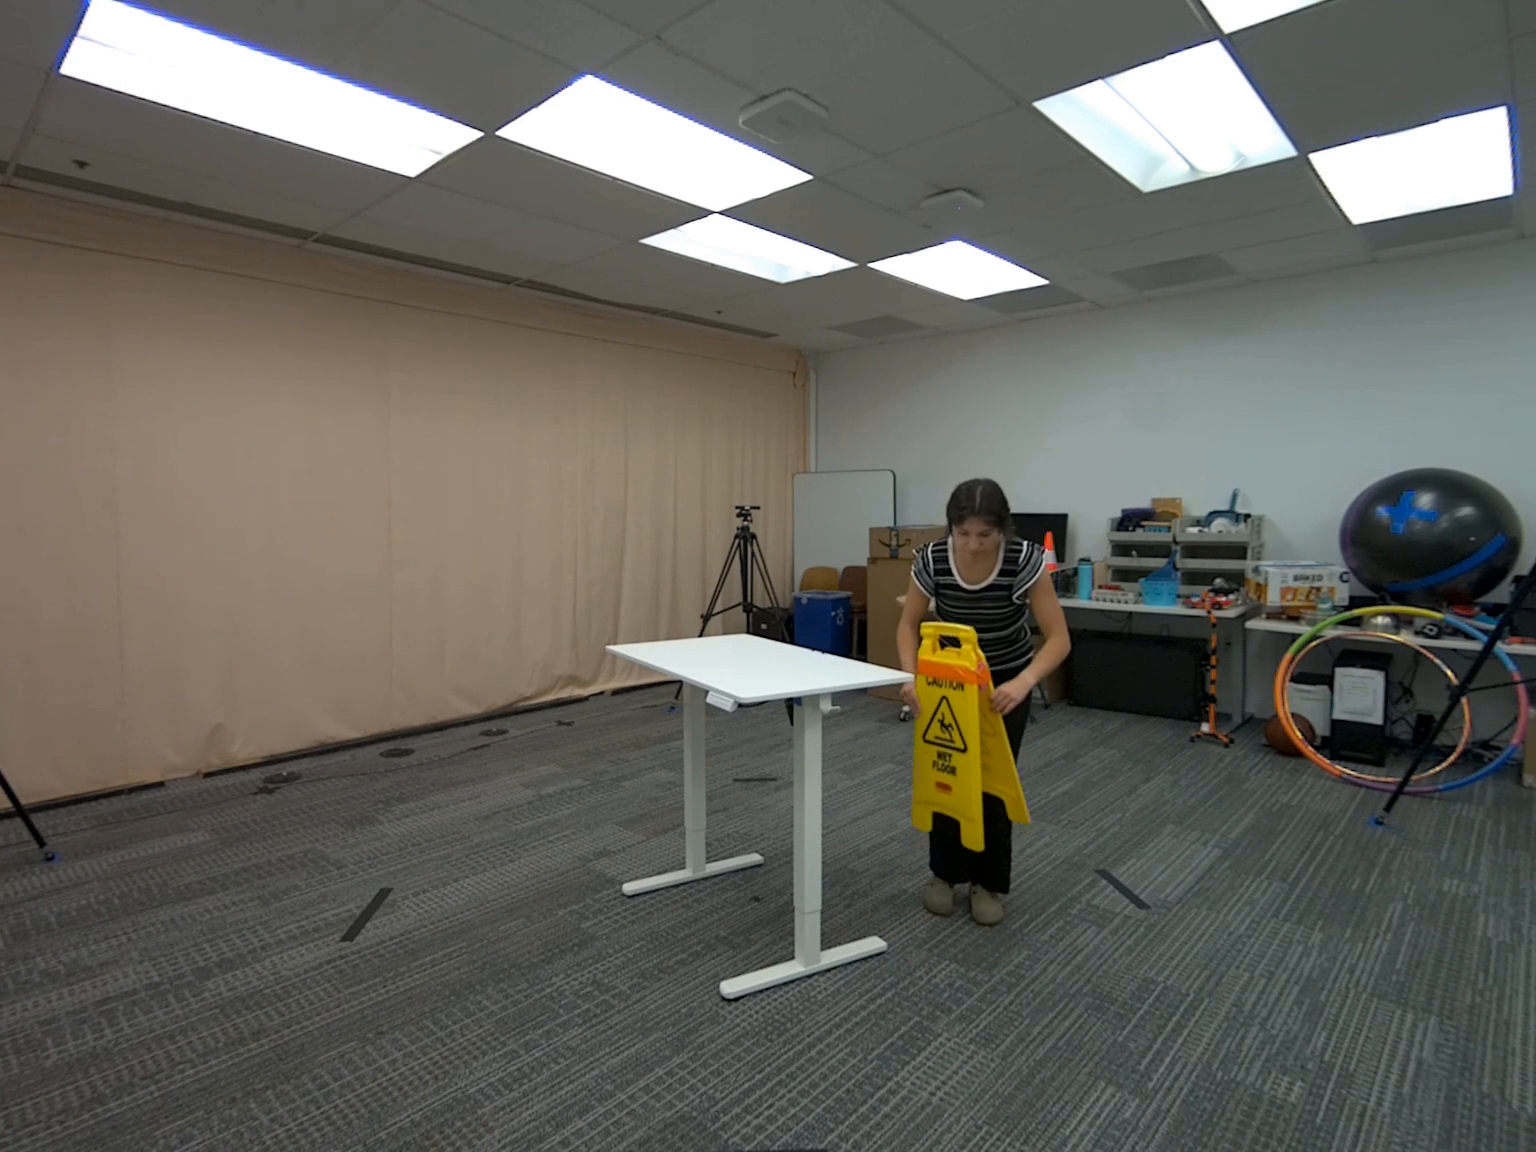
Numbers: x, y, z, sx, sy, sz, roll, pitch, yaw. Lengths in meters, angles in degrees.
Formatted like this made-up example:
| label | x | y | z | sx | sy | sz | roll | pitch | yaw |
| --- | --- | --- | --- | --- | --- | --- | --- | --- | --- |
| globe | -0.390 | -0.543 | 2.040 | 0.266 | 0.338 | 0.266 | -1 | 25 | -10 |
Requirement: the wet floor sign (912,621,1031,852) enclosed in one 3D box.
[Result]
| label | x | y | z | sx | sy | sz | roll | pitch | yaw |
| --- | --- | --- | --- | --- | --- | --- | --- | --- | --- |
| wet floor sign | 0.608 | 0.474 | 2.622 | 0.282 | 0.643 | 0.291 | -11 | 7 | -35 |
